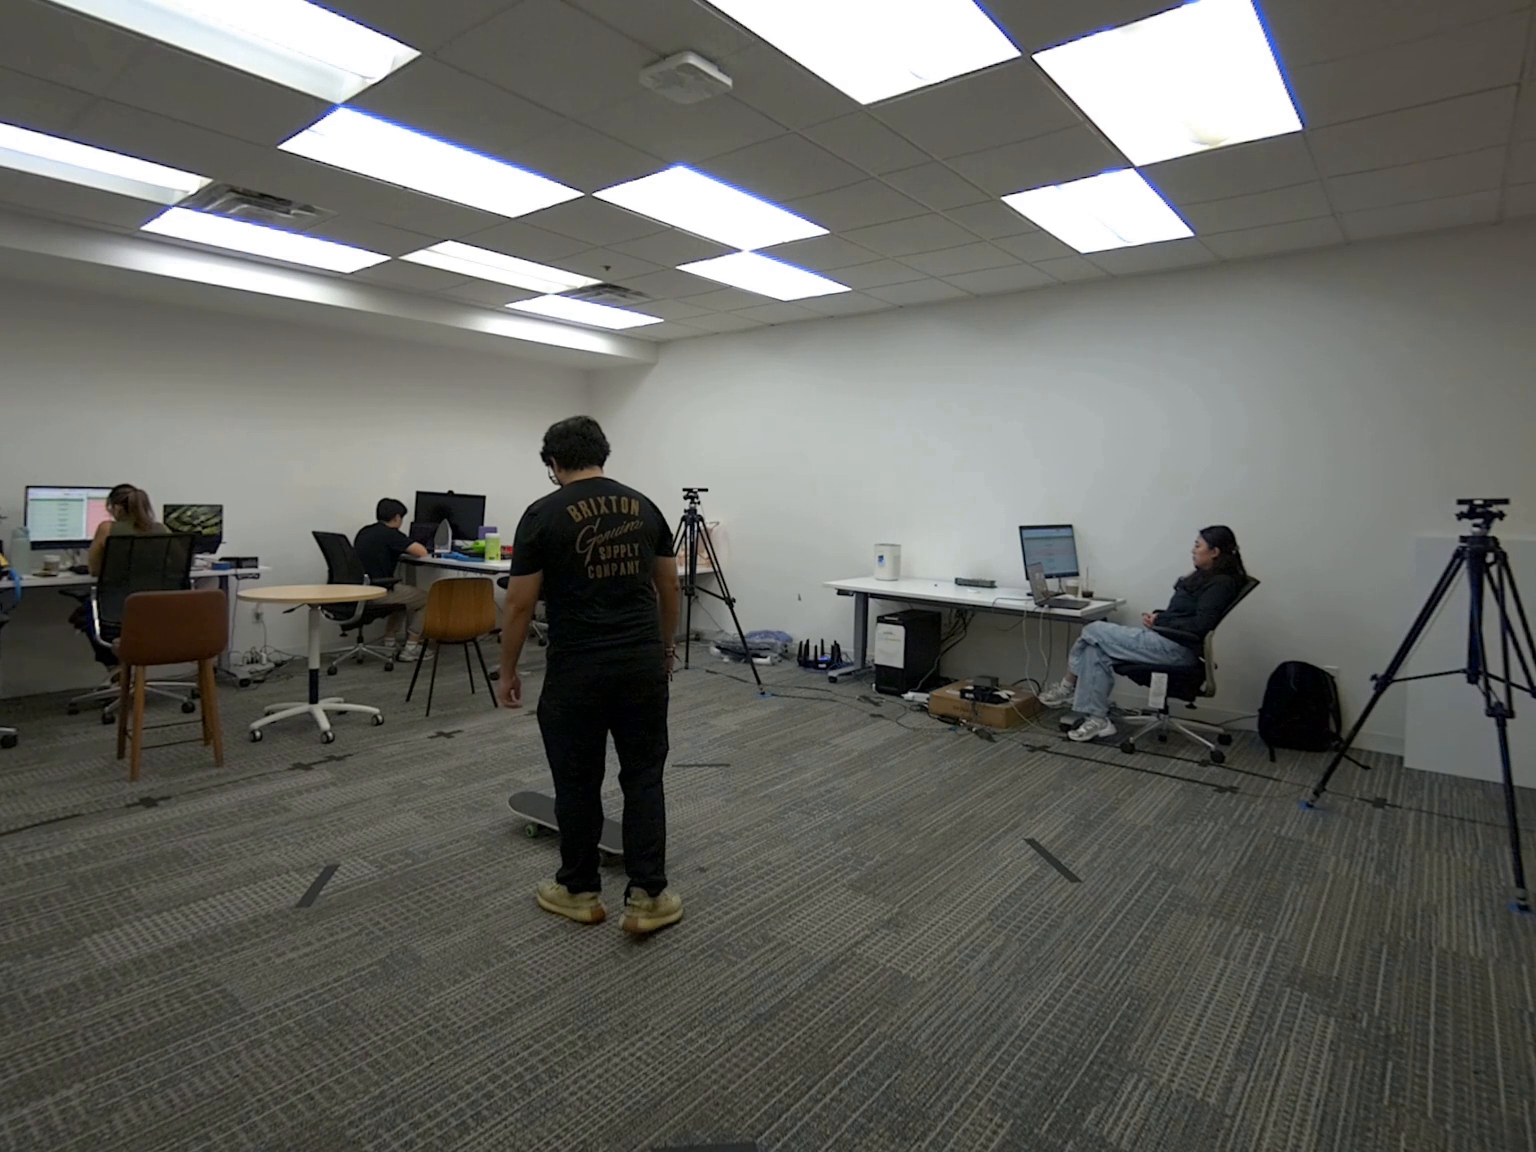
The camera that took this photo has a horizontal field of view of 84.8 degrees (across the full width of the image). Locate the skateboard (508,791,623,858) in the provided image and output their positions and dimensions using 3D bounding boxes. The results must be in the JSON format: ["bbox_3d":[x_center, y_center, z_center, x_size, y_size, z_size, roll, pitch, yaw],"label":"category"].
[{"bbox_3d":[-0.740,0.988,3.301,0.811,0.110,0.188,6,7,36],"label":"skateboard"}]
